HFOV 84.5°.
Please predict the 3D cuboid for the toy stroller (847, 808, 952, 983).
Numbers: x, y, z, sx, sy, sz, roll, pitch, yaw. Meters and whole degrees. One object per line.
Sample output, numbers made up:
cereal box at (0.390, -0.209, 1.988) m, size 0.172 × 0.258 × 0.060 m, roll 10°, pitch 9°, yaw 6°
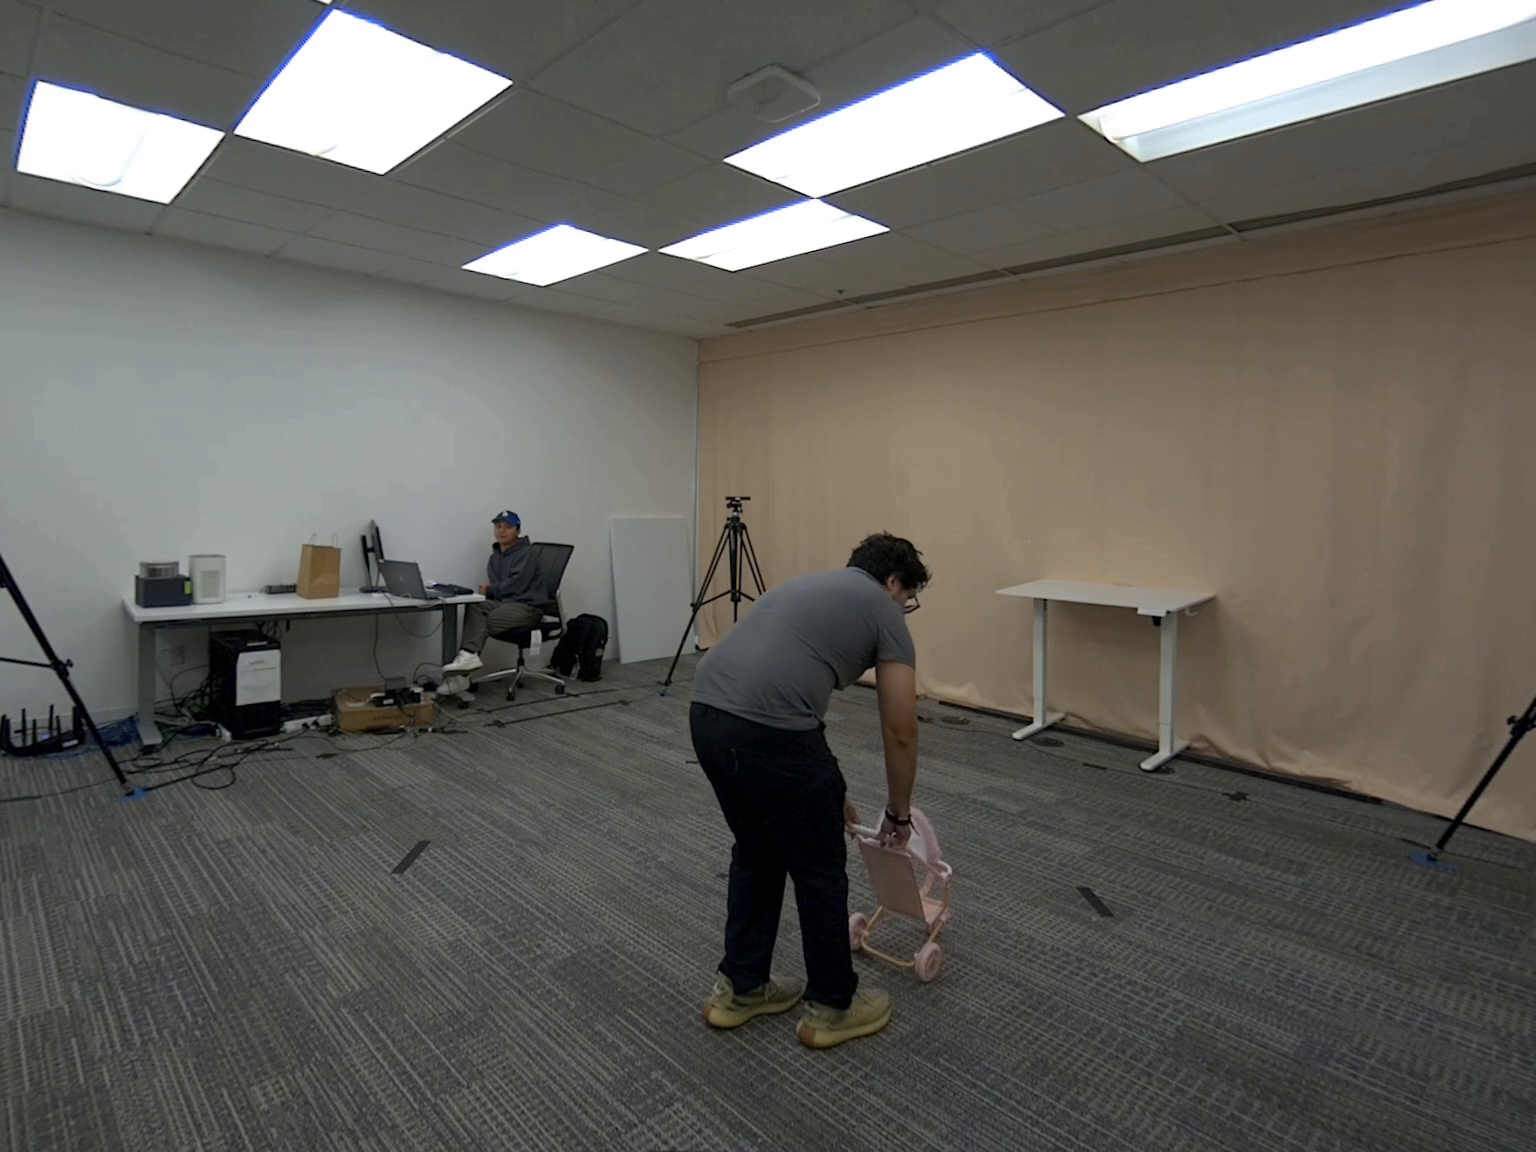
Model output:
toy stroller at (0.417, 0.940, 2.574) m, size 0.289 × 0.529 × 0.336 m, roll 5°, pitch 18°, yaw 44°
